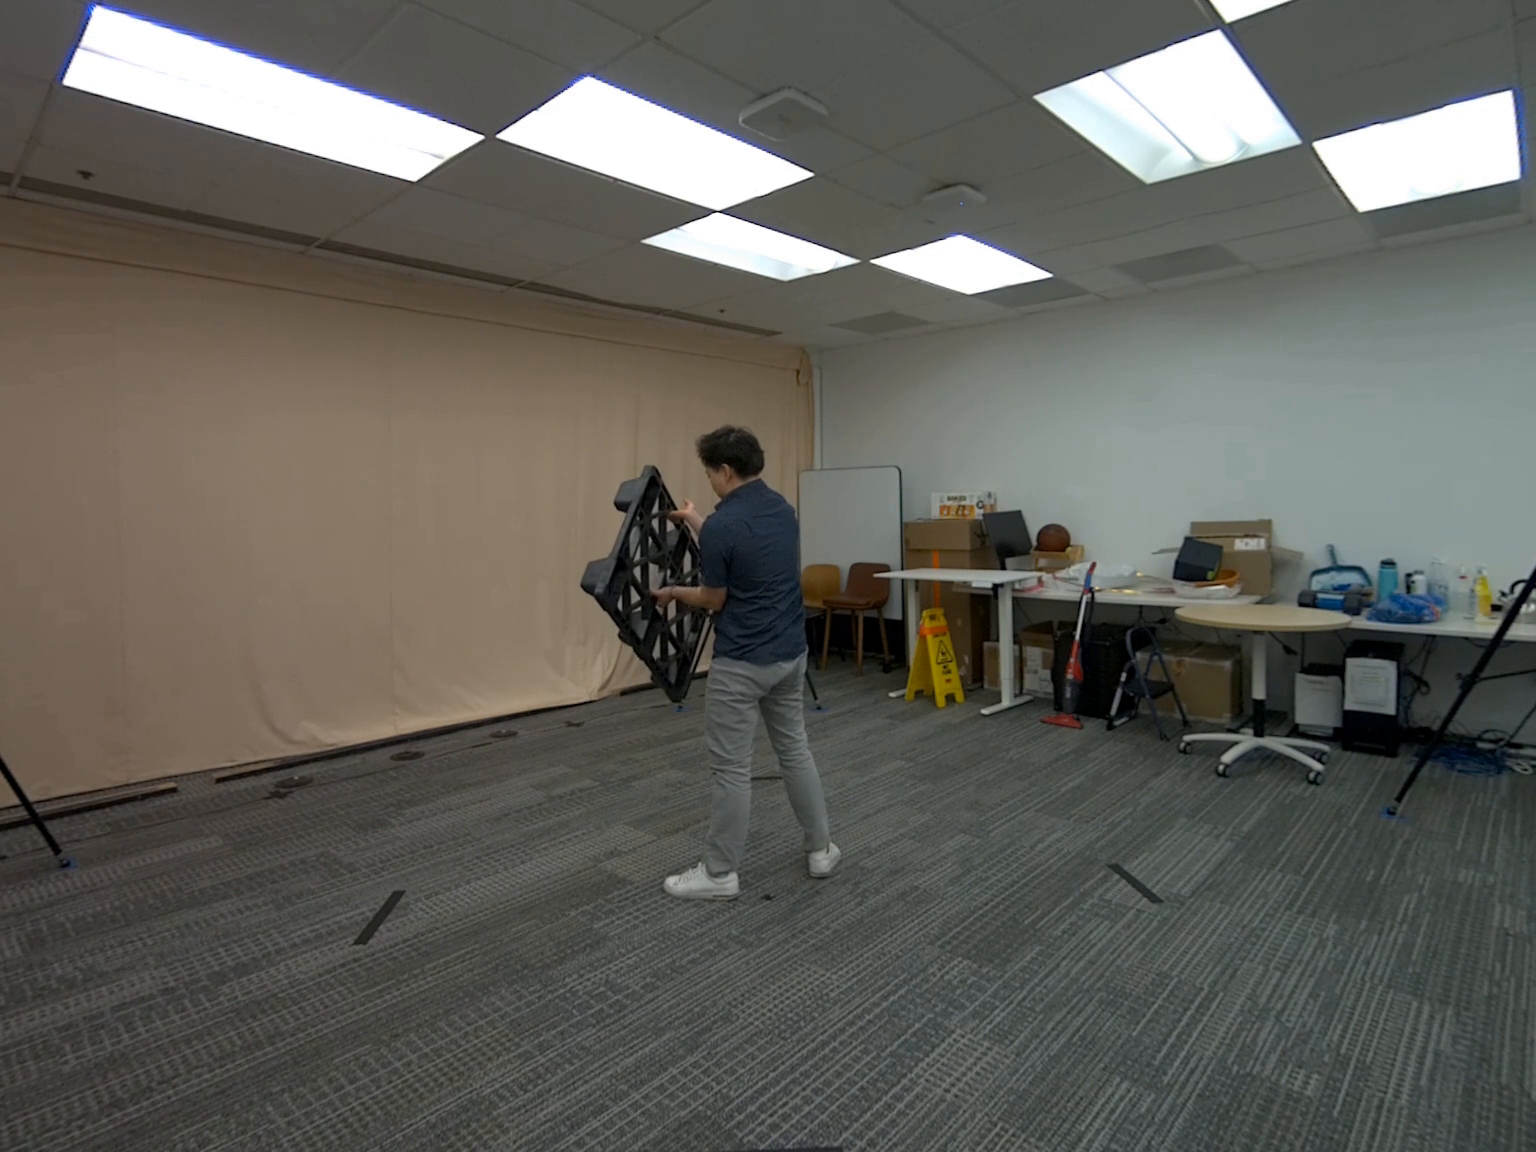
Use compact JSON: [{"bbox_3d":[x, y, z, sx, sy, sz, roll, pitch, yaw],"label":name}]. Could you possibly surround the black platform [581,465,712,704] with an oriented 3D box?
[{"bbox_3d":[-0.450,0.054,3.307,0.146,0.610,0.782,1,-36,19],"label":"black platform"}]
